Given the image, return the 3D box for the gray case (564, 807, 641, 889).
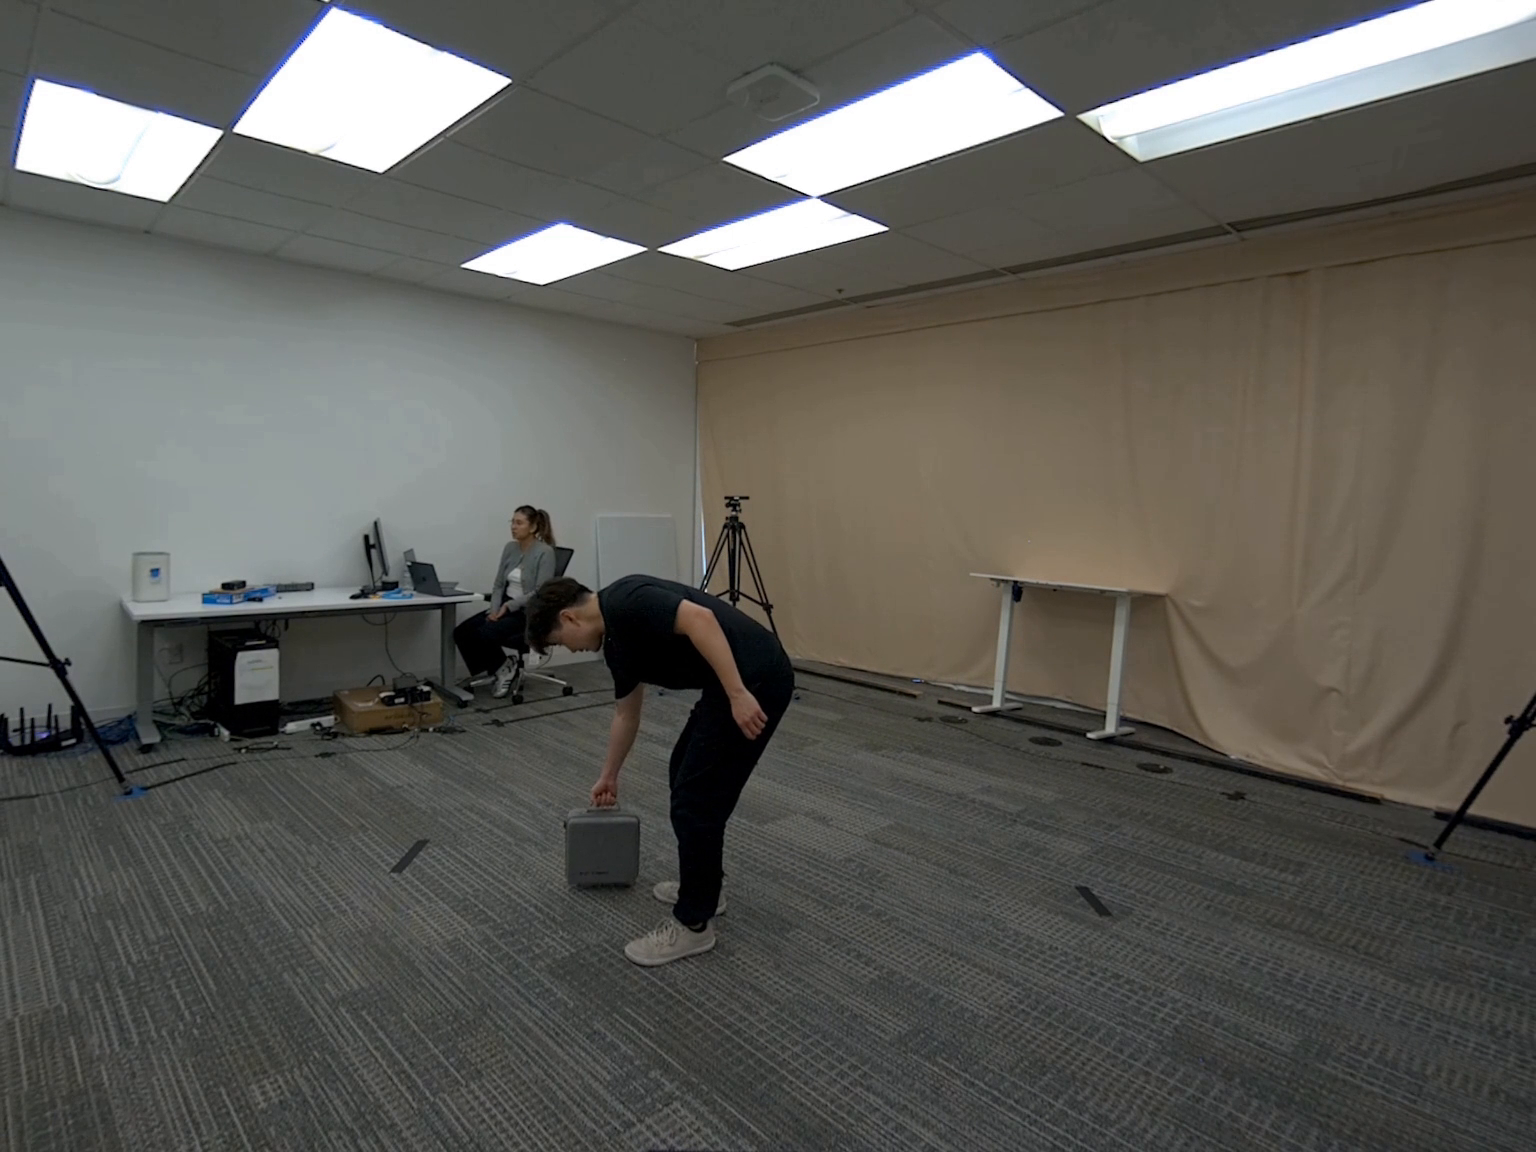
[{"bbox_3d":[-0.590,0.943,2.978,0.256,0.259,0.105,1,10,-6],"label":"gray case"}]
